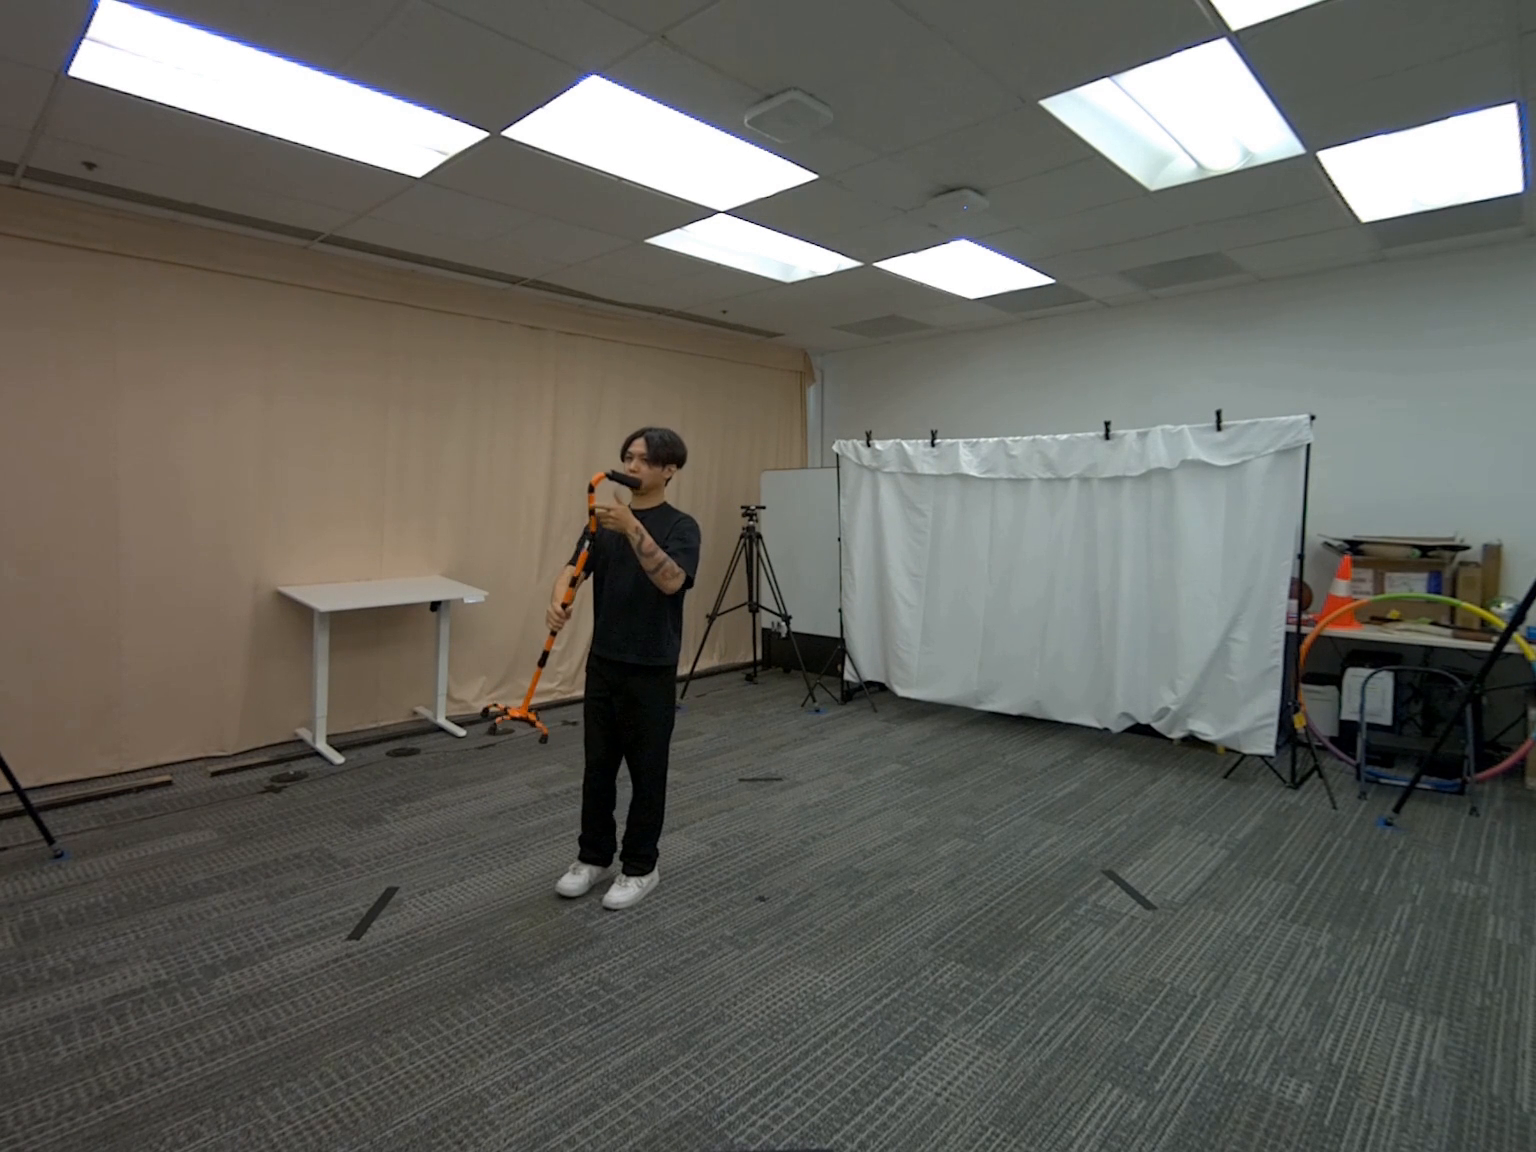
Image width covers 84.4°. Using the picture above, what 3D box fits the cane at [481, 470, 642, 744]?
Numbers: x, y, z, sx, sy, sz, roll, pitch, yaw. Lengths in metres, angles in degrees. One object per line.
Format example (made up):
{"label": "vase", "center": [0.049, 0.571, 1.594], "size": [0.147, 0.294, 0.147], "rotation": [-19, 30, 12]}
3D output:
{"label": "cane", "center": [-0.663, 0.082, 2.709], "size": [0.200, 0.907, 0.157], "rotation": [17, 7, -33]}
